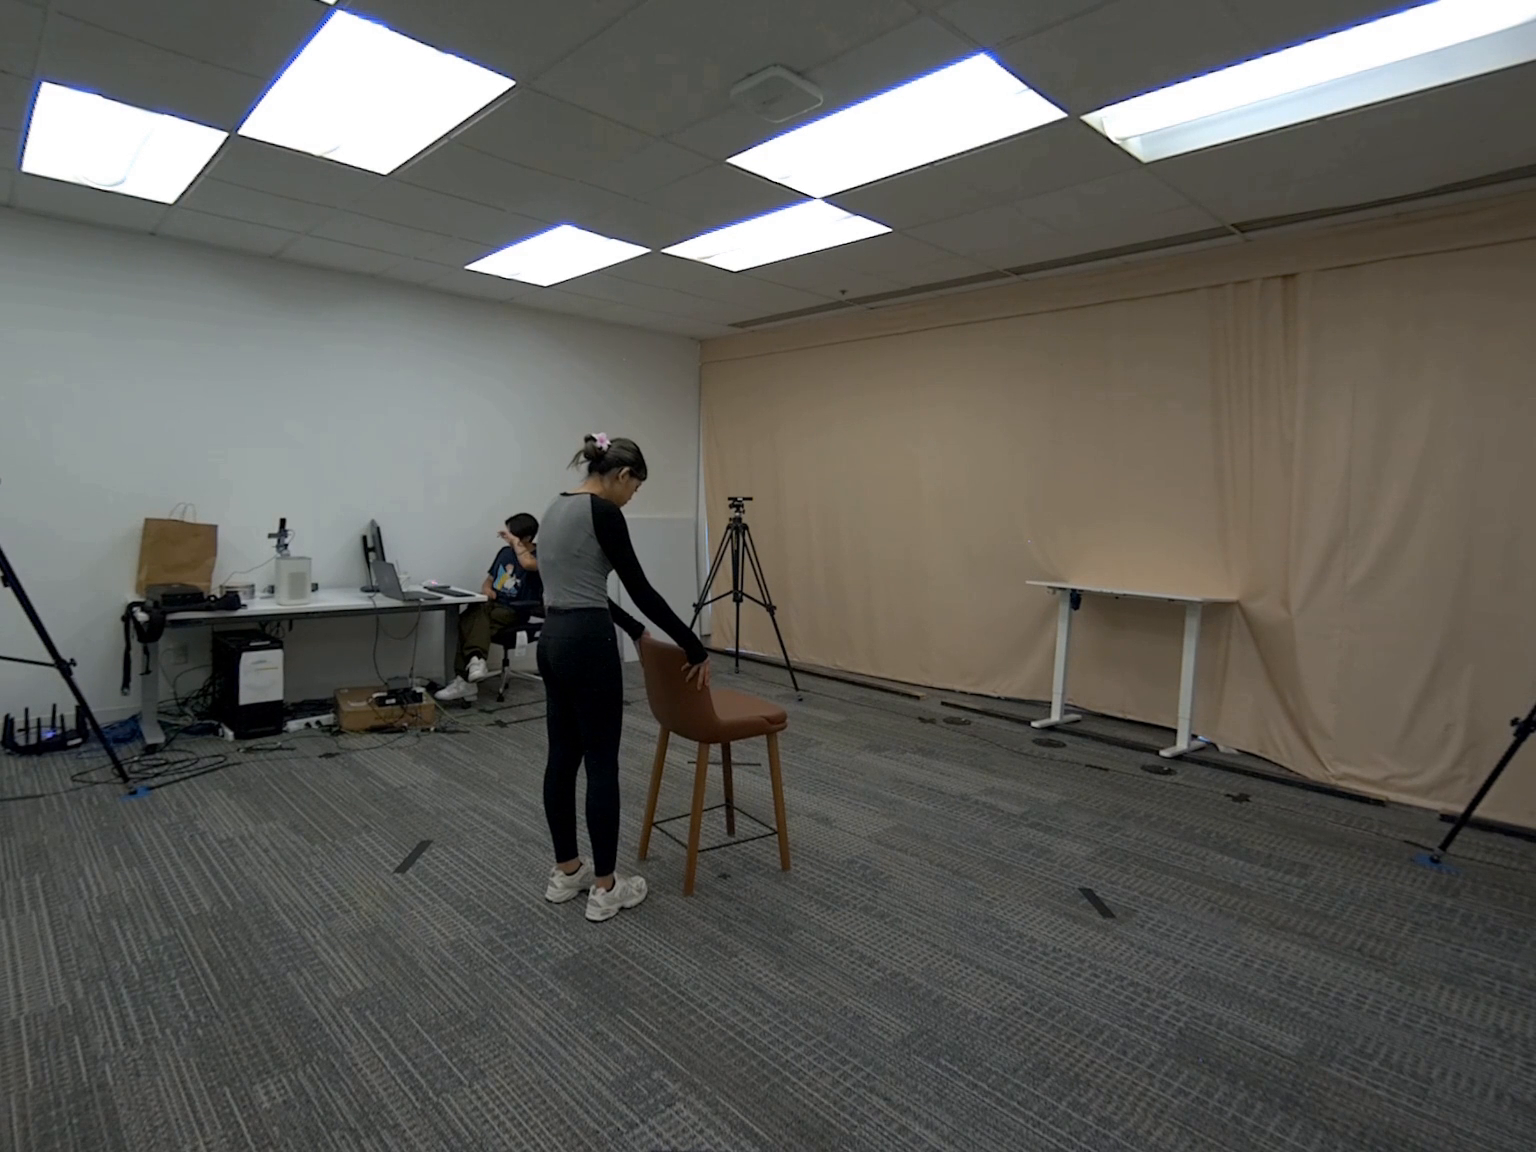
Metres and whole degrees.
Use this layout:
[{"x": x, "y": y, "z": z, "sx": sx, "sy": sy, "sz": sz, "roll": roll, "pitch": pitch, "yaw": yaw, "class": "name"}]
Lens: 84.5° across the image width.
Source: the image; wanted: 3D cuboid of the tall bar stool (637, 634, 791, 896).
[{"x": -0.219, "y": 0.660, "z": 3.180, "sx": 0.458, "sy": 0.886, "sz": 0.468, "roll": -4, "pitch": 6, "yaw": -34, "class": "tall bar stool"}]
